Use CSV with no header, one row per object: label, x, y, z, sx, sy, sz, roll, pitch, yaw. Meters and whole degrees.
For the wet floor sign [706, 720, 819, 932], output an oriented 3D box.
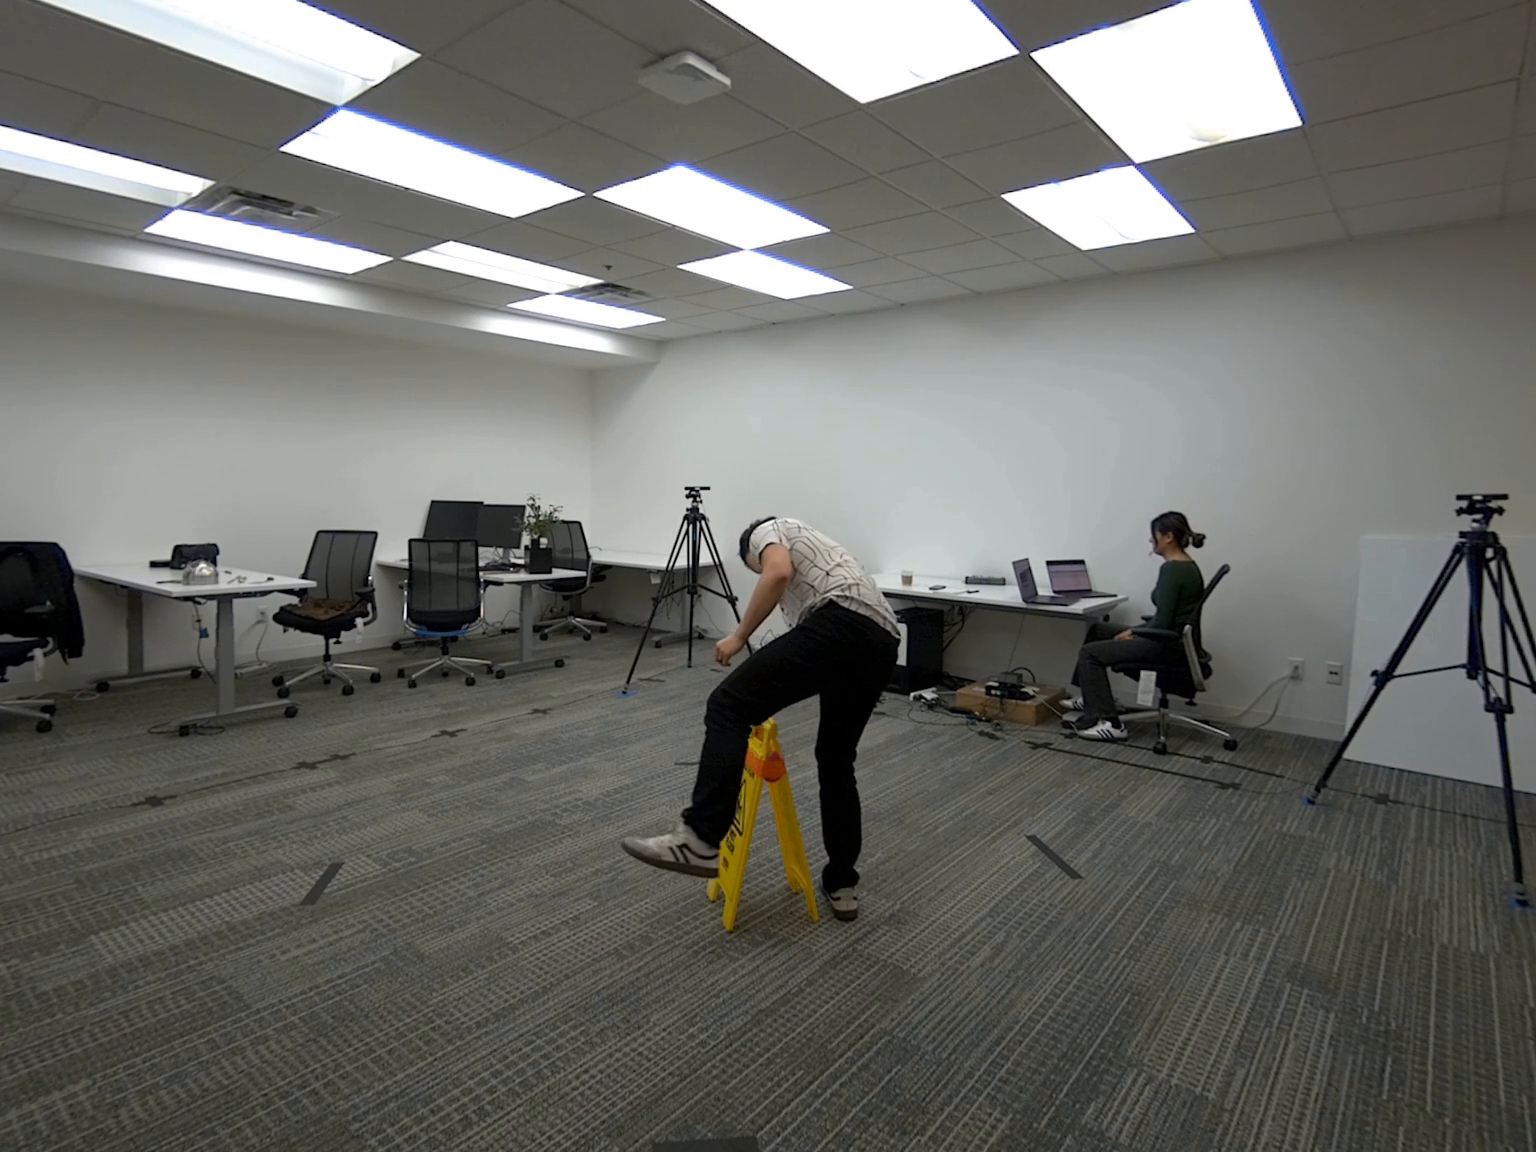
wet floor sign,-0.028,0.773,2.814,0.285,0.644,0.287,0,4,-15
